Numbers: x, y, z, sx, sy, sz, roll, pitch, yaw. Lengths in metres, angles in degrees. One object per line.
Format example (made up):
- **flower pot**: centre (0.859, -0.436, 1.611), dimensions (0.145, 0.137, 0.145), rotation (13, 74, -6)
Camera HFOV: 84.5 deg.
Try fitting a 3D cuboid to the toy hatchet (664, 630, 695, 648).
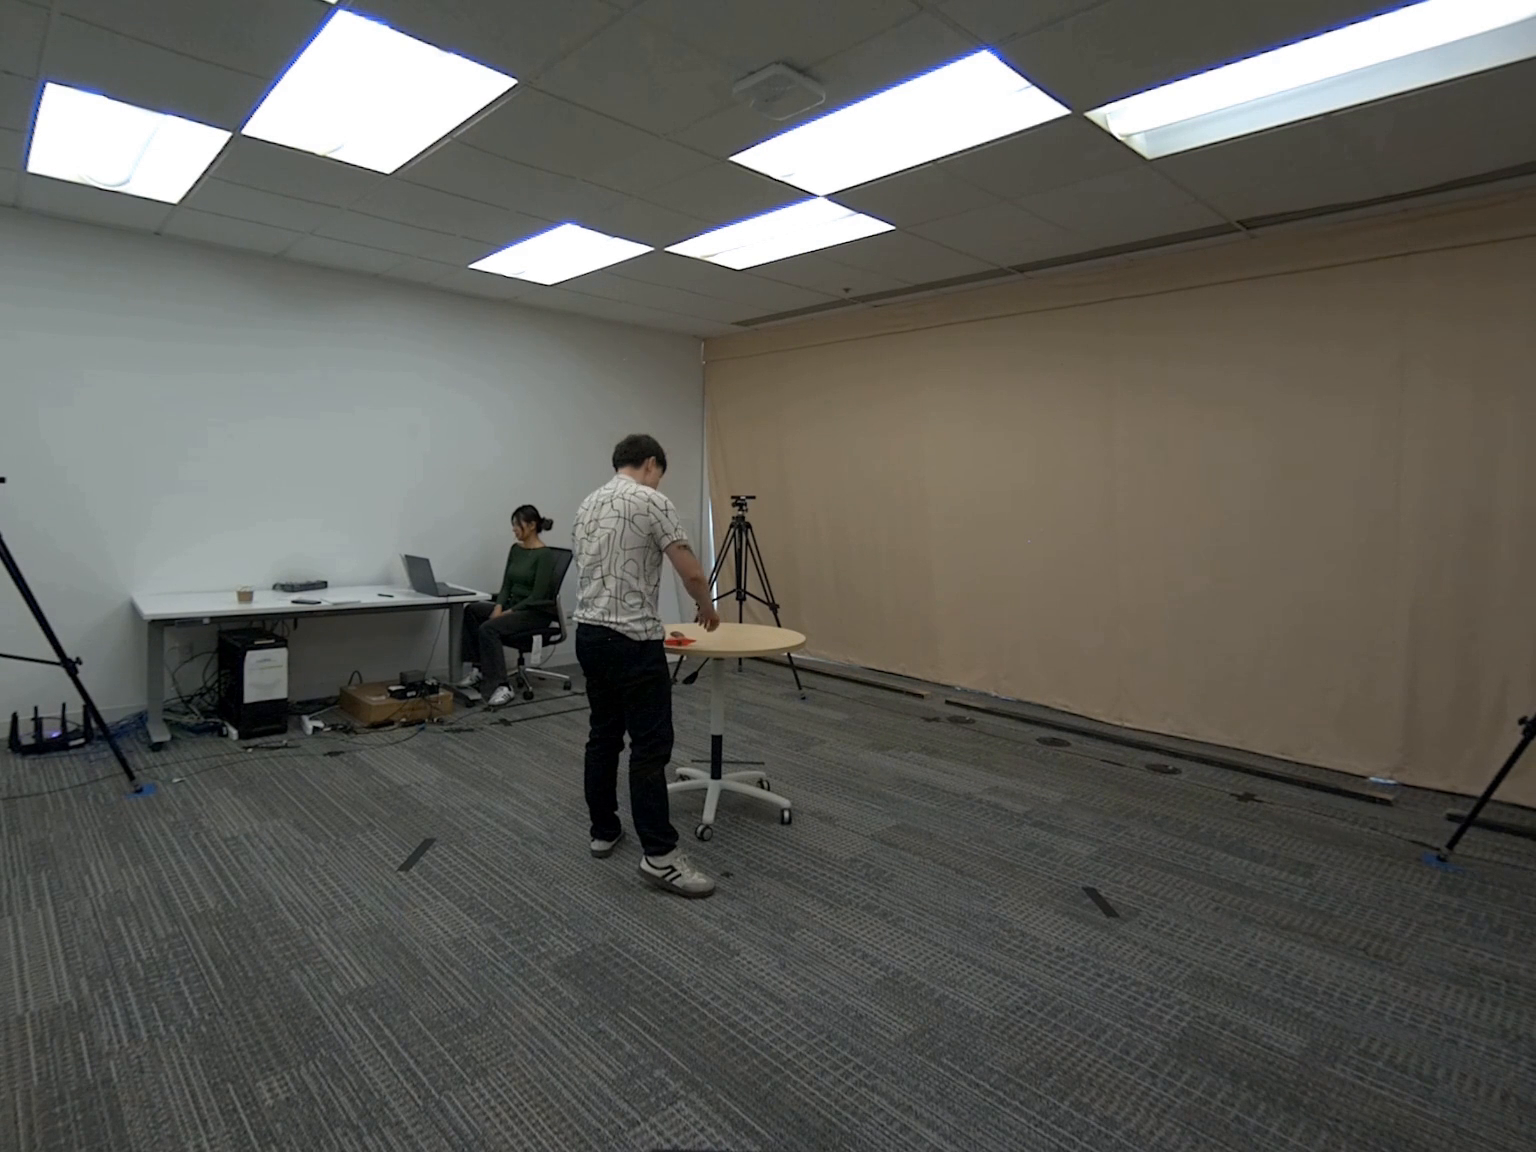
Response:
- **toy hatchet**: centre (-0.416, 0.264, 3.566), dimensions (0.129, 0.029, 0.275), rotation (-5, 6, -20)
